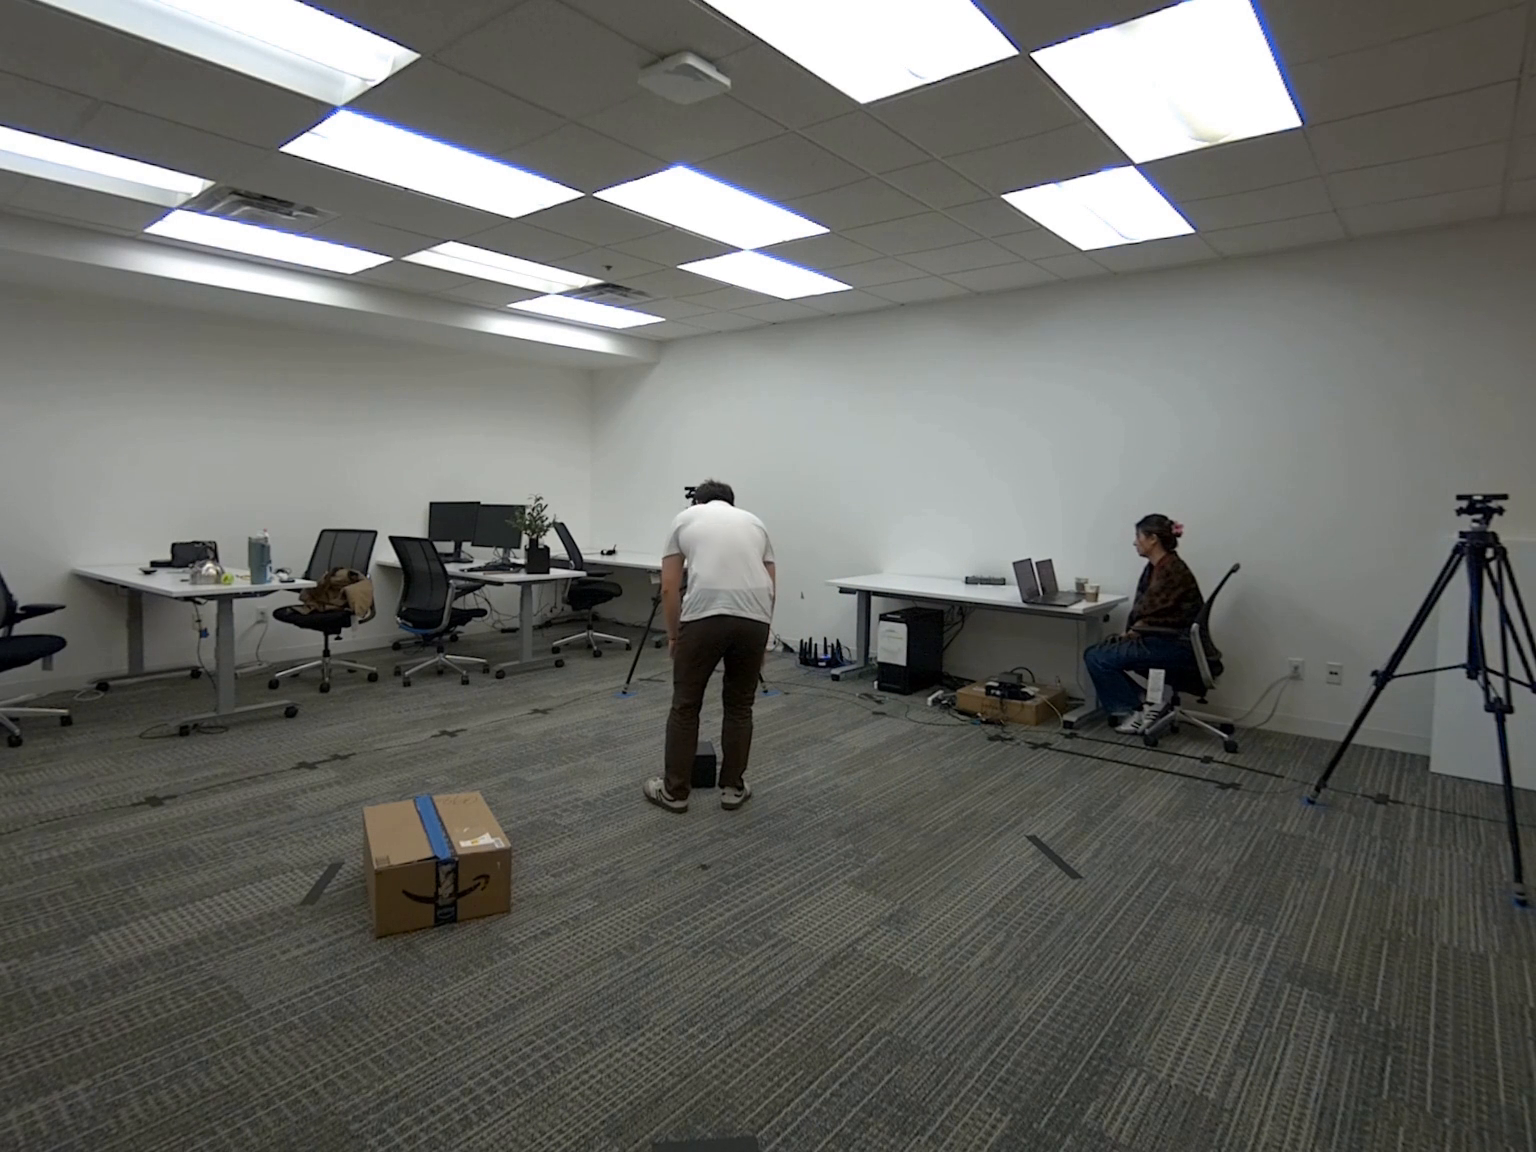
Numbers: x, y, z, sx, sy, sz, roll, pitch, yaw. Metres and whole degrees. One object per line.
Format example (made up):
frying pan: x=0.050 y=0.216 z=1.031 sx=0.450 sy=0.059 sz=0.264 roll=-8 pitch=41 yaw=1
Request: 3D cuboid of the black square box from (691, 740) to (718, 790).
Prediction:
black square box: x=-0.380 y=0.881 z=4.035 sx=0.226 sy=0.155 sz=0.220 roll=-1 pitch=5 yaw=-9
